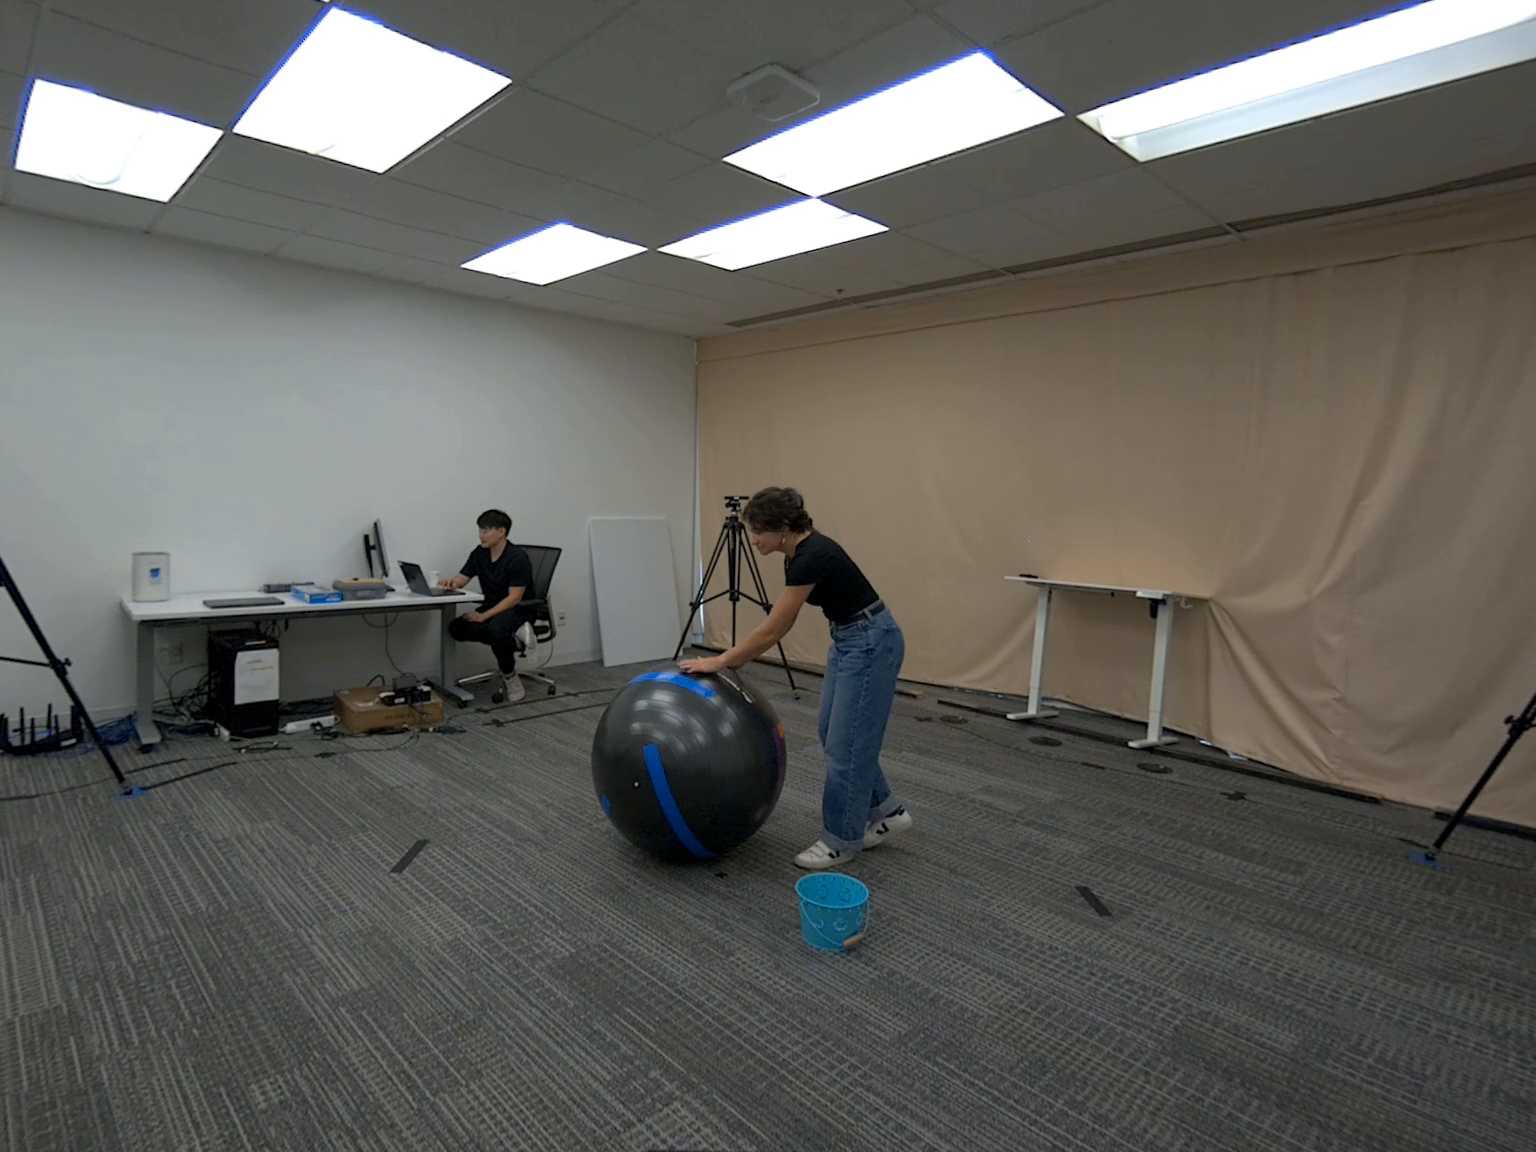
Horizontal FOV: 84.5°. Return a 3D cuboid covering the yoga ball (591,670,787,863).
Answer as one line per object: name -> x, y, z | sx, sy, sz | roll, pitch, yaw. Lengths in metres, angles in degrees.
yoga ball -> -0.317, 0.715, 3.285 | 0.757, 0.756, 0.761 | 1, 4, -1
